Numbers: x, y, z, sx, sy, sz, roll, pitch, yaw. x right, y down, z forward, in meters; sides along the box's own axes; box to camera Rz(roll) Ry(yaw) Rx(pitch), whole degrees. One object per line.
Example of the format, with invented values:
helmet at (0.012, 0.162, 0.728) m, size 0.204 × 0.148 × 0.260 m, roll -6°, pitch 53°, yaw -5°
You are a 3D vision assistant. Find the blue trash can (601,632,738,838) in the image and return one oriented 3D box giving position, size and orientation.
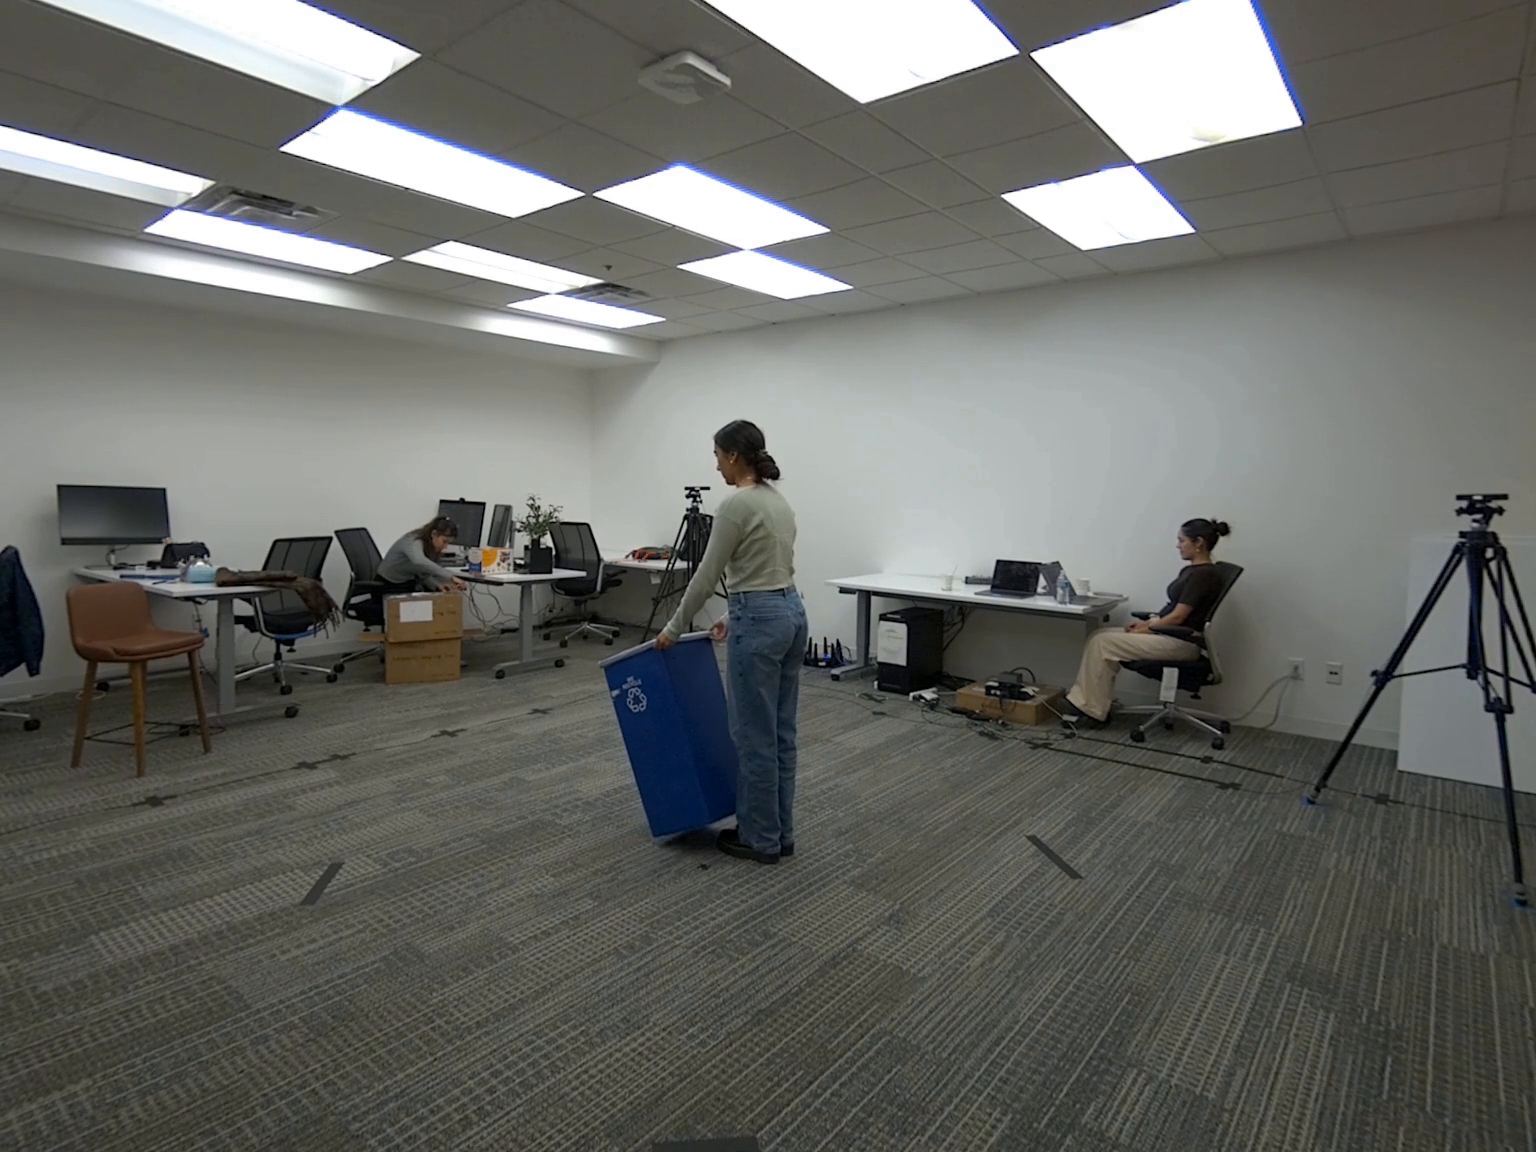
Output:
blue trash can at (-0.363, 0.626, 3.419) m, size 0.379 × 0.725 × 0.367 m, roll -25°, pitch -14°, yaw 31°
